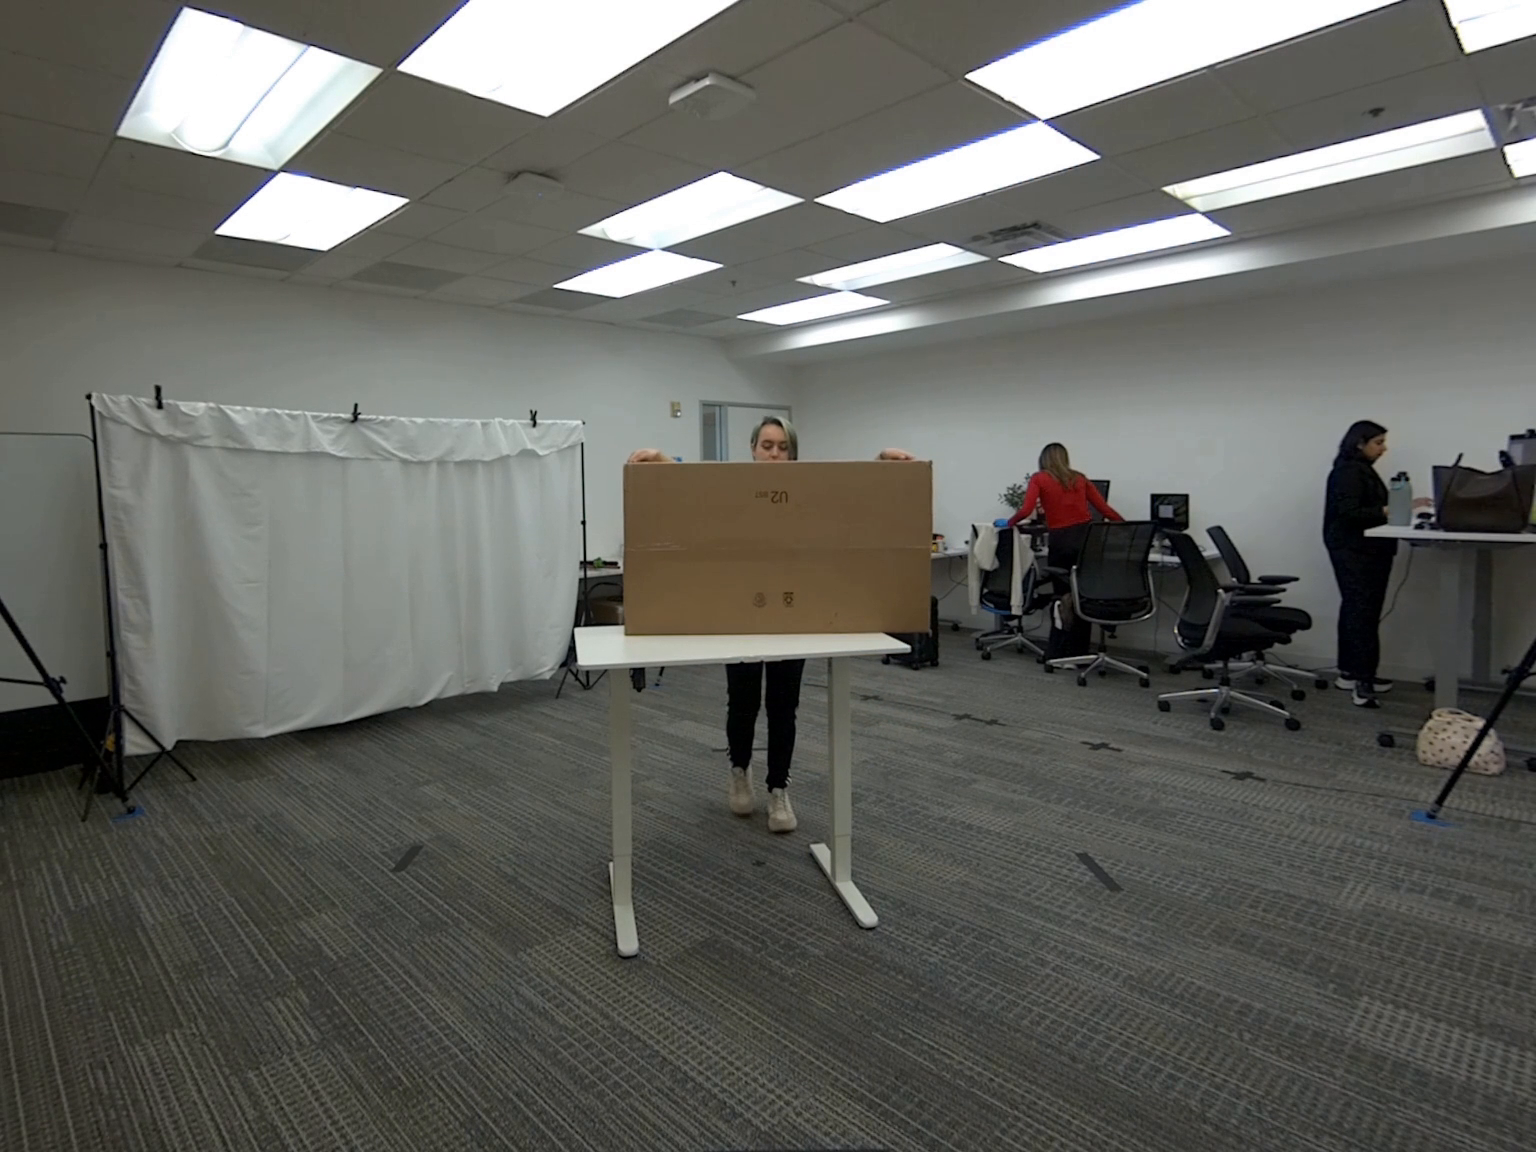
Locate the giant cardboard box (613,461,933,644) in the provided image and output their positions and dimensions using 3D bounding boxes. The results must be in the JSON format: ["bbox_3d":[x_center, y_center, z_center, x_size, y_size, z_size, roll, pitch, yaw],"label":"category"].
[{"bbox_3d":[0.022,-0.118,3.030,1.027,0.582,0.448,0,4,0],"label":"giant cardboard box"}]
